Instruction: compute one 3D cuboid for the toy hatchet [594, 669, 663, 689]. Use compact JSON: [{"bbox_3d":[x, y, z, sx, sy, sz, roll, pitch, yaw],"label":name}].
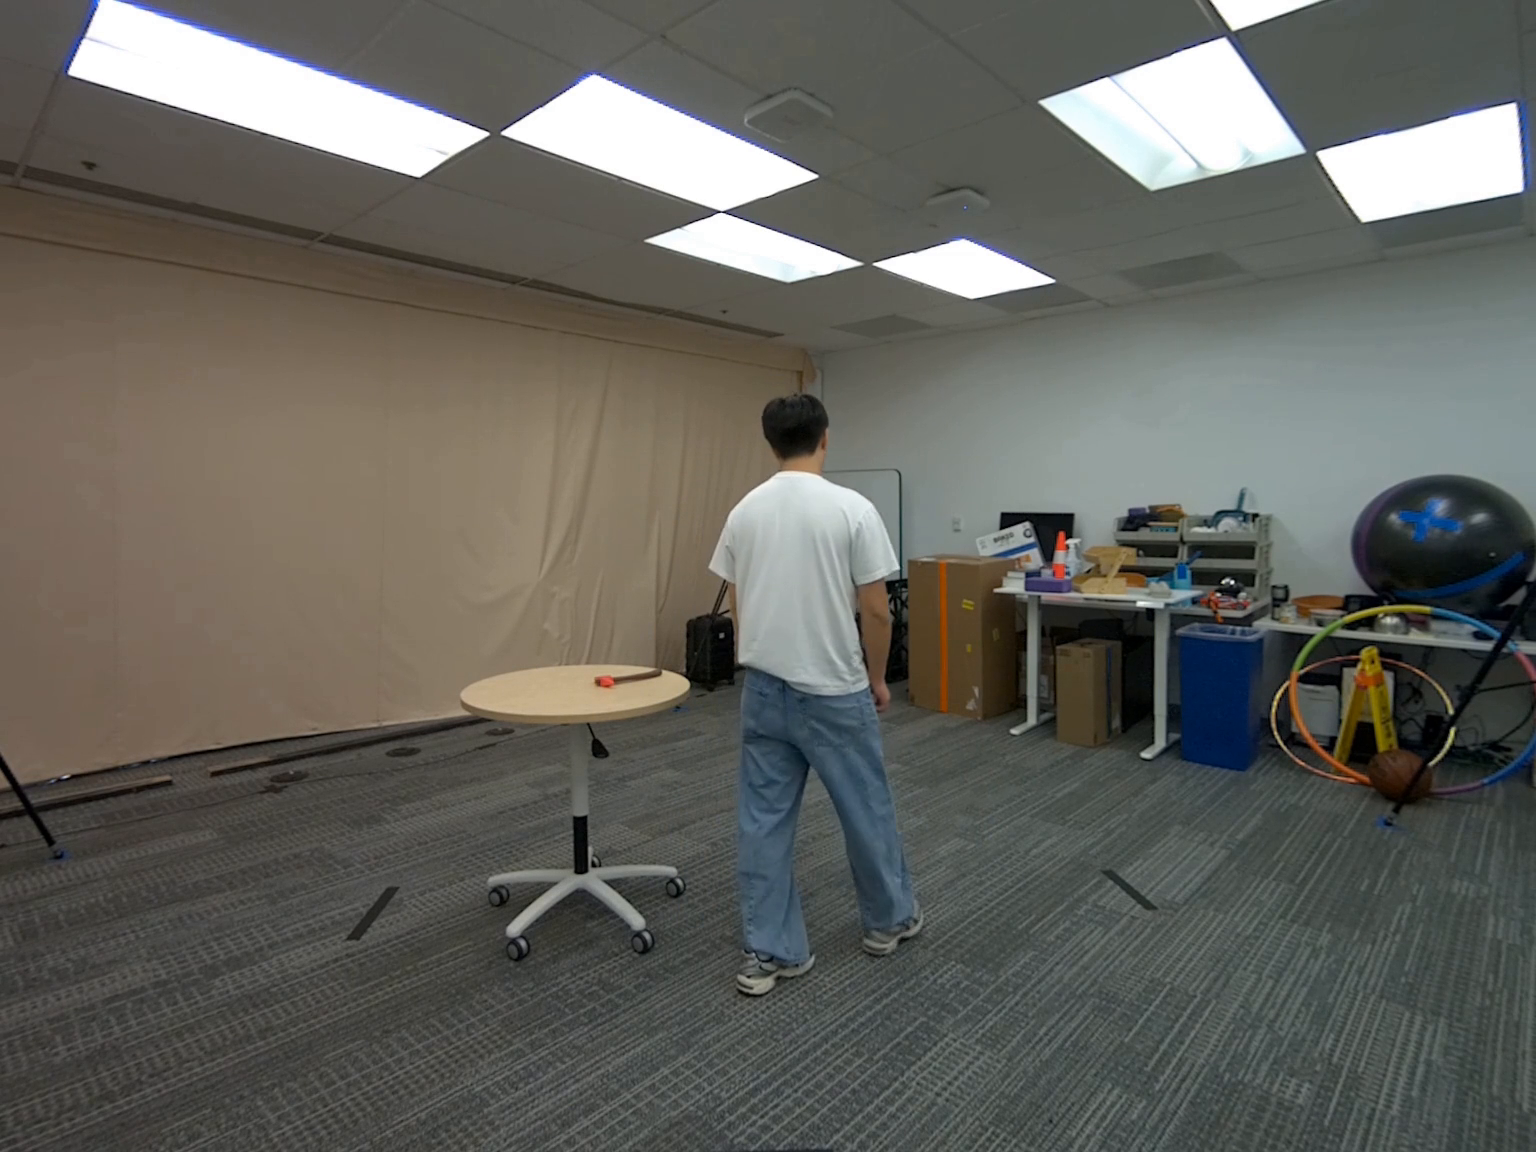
[{"bbox_3d":[-0.506,0.357,2.956,0.135,0.029,0.262,-1,2,35],"label":"toy hatchet"}]
